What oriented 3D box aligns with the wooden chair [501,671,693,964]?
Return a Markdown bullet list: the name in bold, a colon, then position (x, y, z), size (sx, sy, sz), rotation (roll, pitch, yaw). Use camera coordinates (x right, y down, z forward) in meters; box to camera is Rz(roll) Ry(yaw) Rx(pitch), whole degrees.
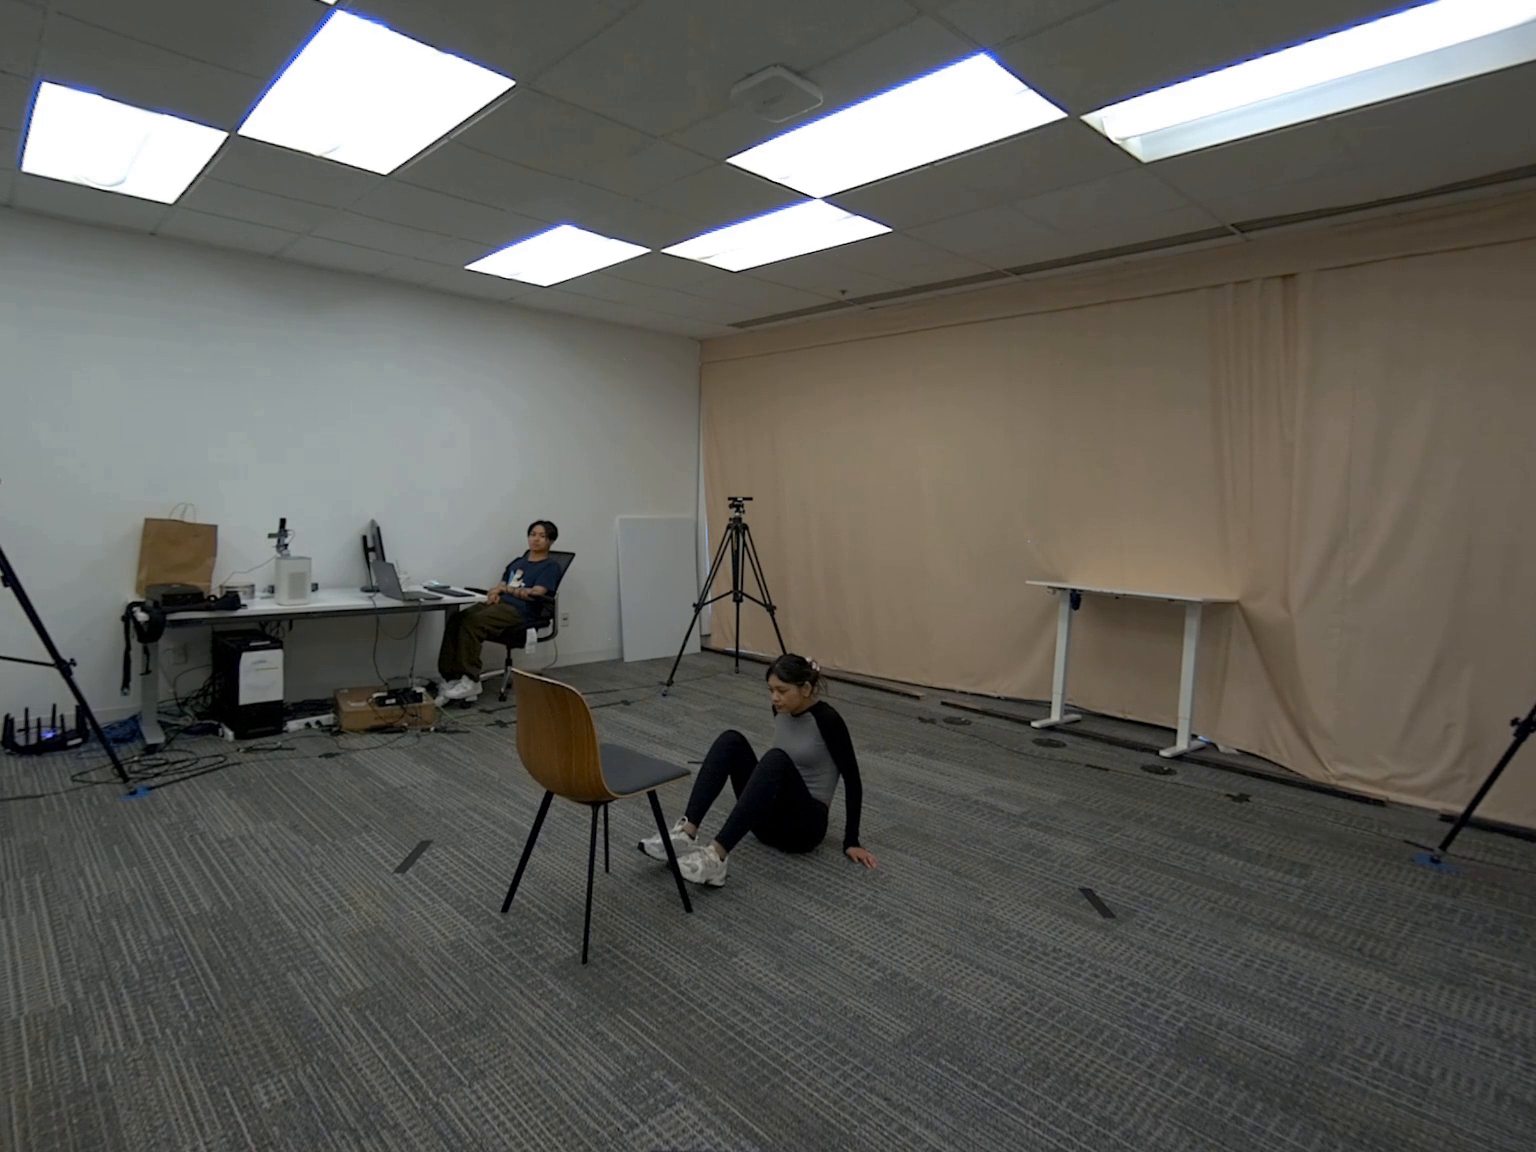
- **wooden chair**: position (-0.557, 0.699, 2.783), size (0.490, 0.873, 0.513), rotation (4, 9, 41)
